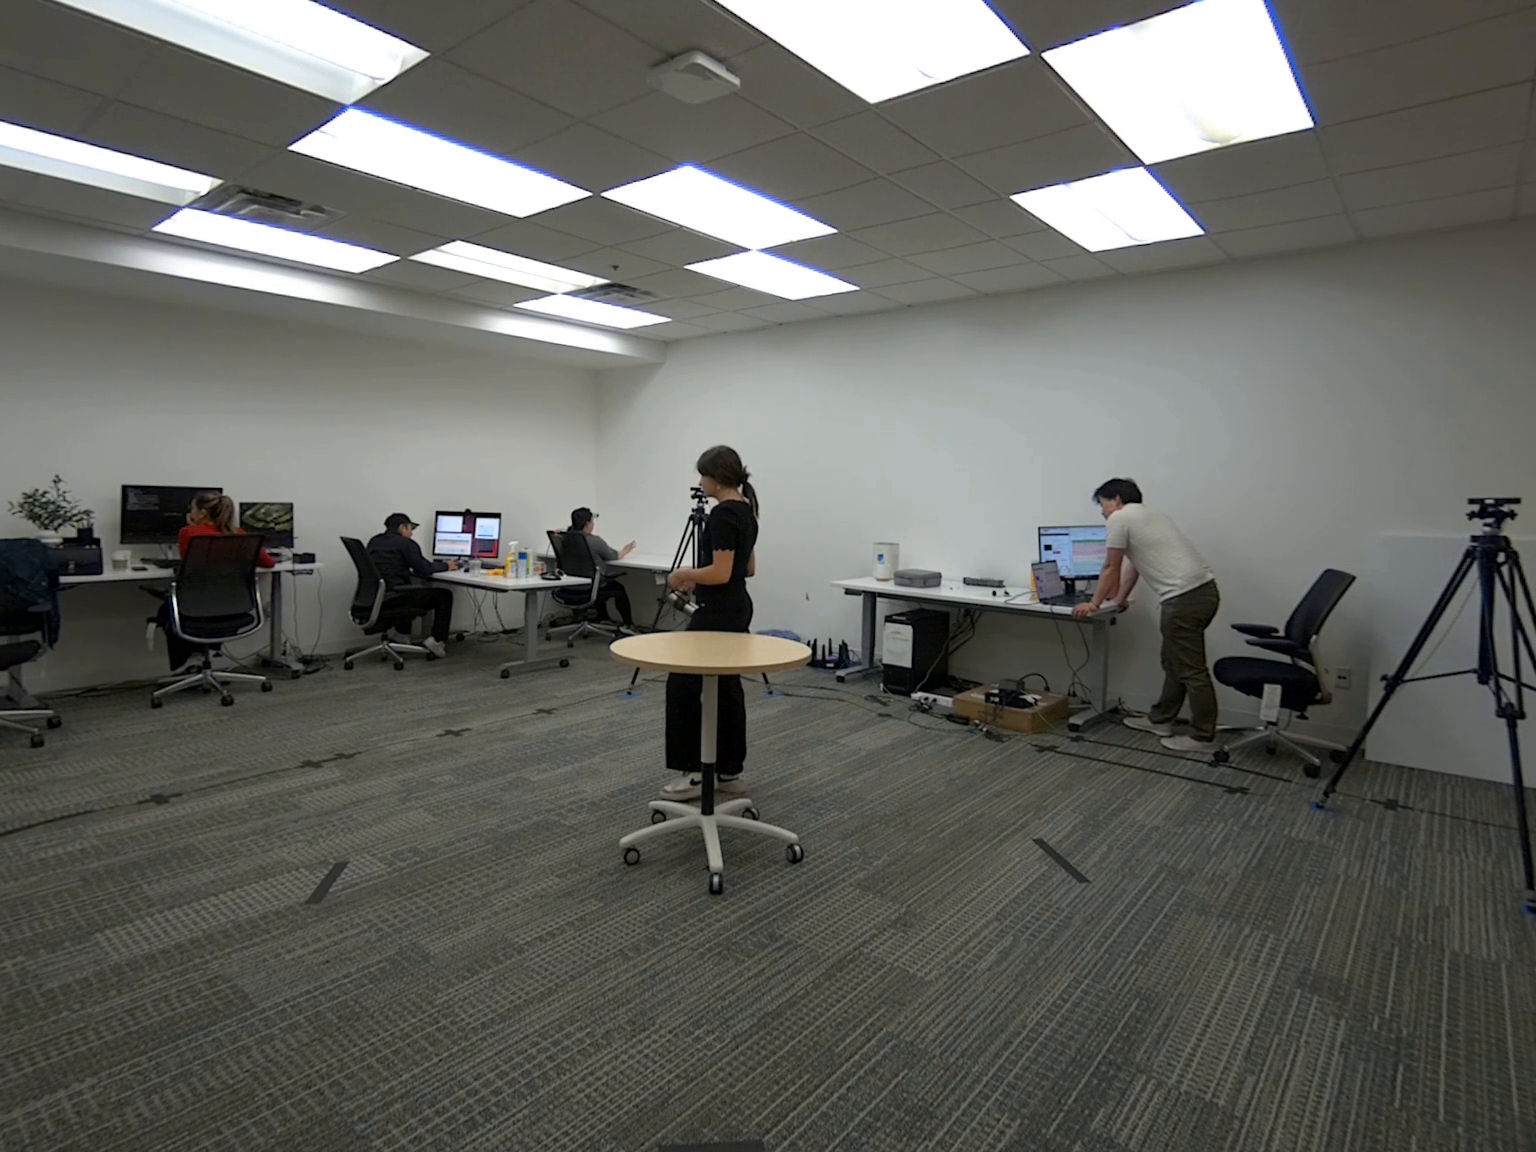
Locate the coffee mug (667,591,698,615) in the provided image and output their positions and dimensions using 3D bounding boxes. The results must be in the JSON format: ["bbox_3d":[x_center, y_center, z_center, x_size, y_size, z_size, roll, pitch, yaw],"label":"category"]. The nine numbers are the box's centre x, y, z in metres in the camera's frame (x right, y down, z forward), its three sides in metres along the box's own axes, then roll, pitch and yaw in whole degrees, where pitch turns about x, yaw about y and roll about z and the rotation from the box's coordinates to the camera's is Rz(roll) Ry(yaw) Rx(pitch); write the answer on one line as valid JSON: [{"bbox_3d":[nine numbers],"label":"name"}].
[{"bbox_3d":[-0.434,0.119,4.102,0.087,0.118,0.211,-36,49,-29],"label":"coffee mug"}]
